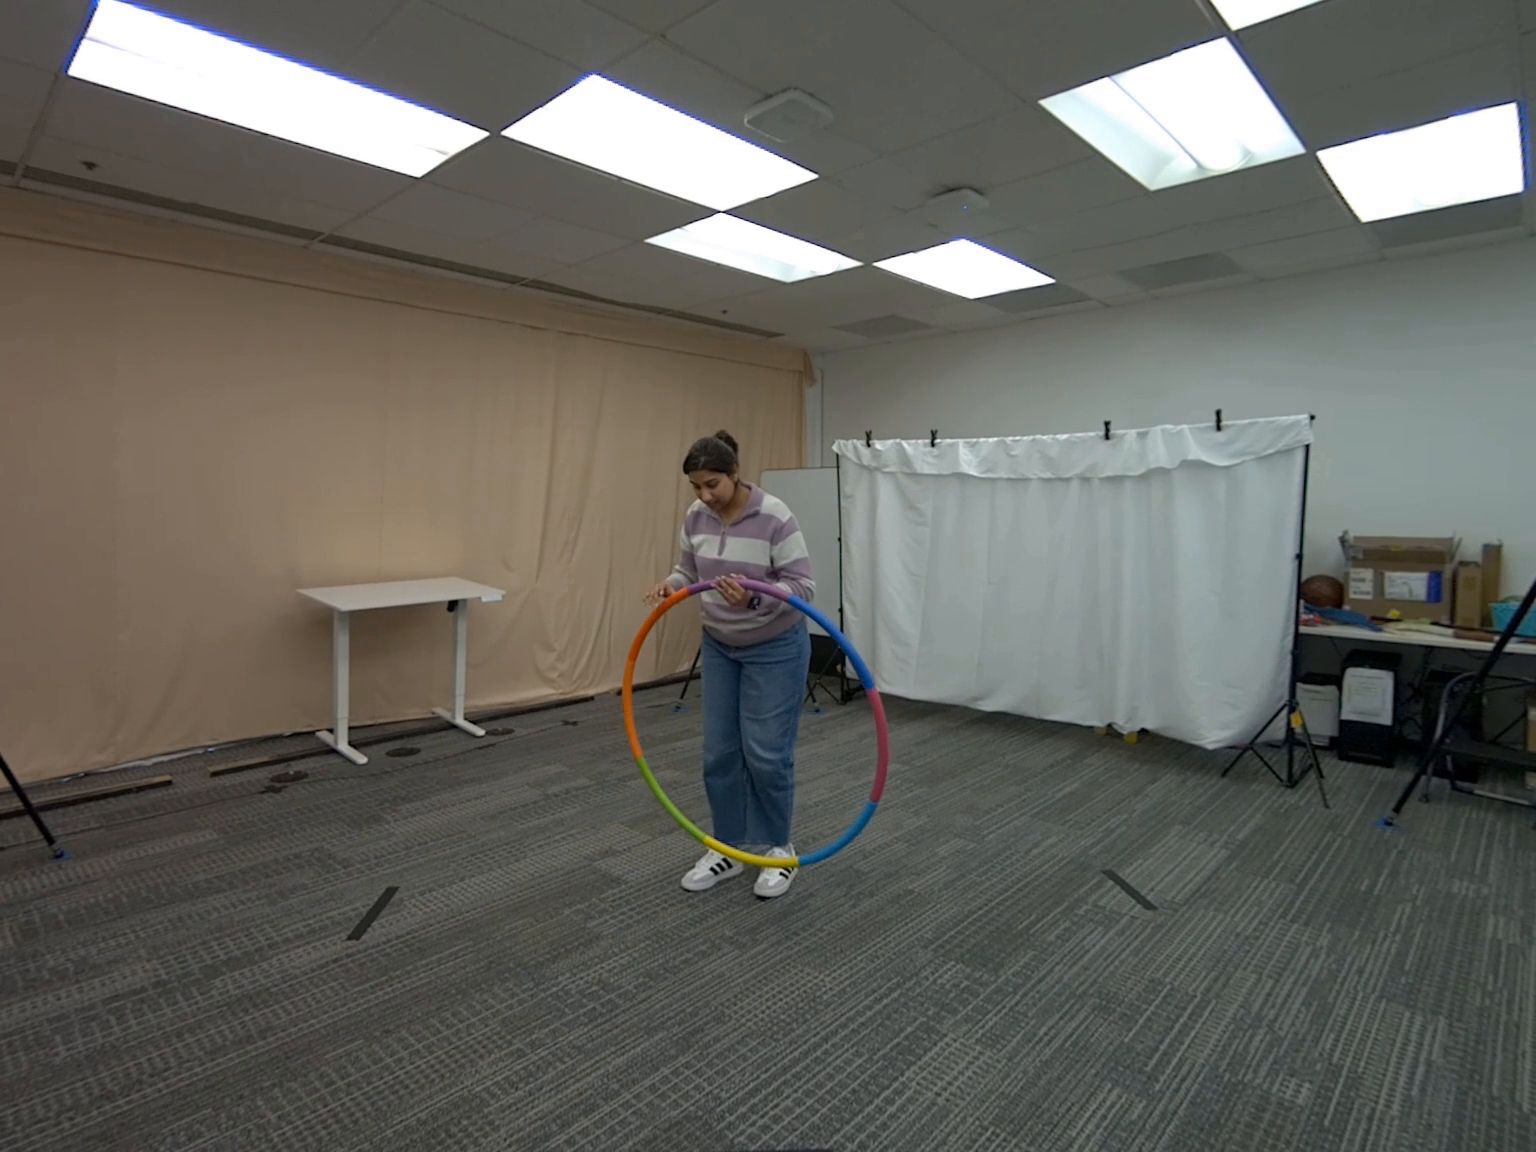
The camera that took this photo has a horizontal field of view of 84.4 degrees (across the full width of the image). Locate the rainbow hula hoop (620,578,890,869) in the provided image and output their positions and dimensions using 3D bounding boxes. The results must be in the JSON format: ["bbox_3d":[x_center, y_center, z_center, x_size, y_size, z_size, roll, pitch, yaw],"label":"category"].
[{"bbox_3d":[-0.073,0.499,2.785,1.012,0.979,0.050,2,10,28],"label":"rainbow hula hoop"}]
